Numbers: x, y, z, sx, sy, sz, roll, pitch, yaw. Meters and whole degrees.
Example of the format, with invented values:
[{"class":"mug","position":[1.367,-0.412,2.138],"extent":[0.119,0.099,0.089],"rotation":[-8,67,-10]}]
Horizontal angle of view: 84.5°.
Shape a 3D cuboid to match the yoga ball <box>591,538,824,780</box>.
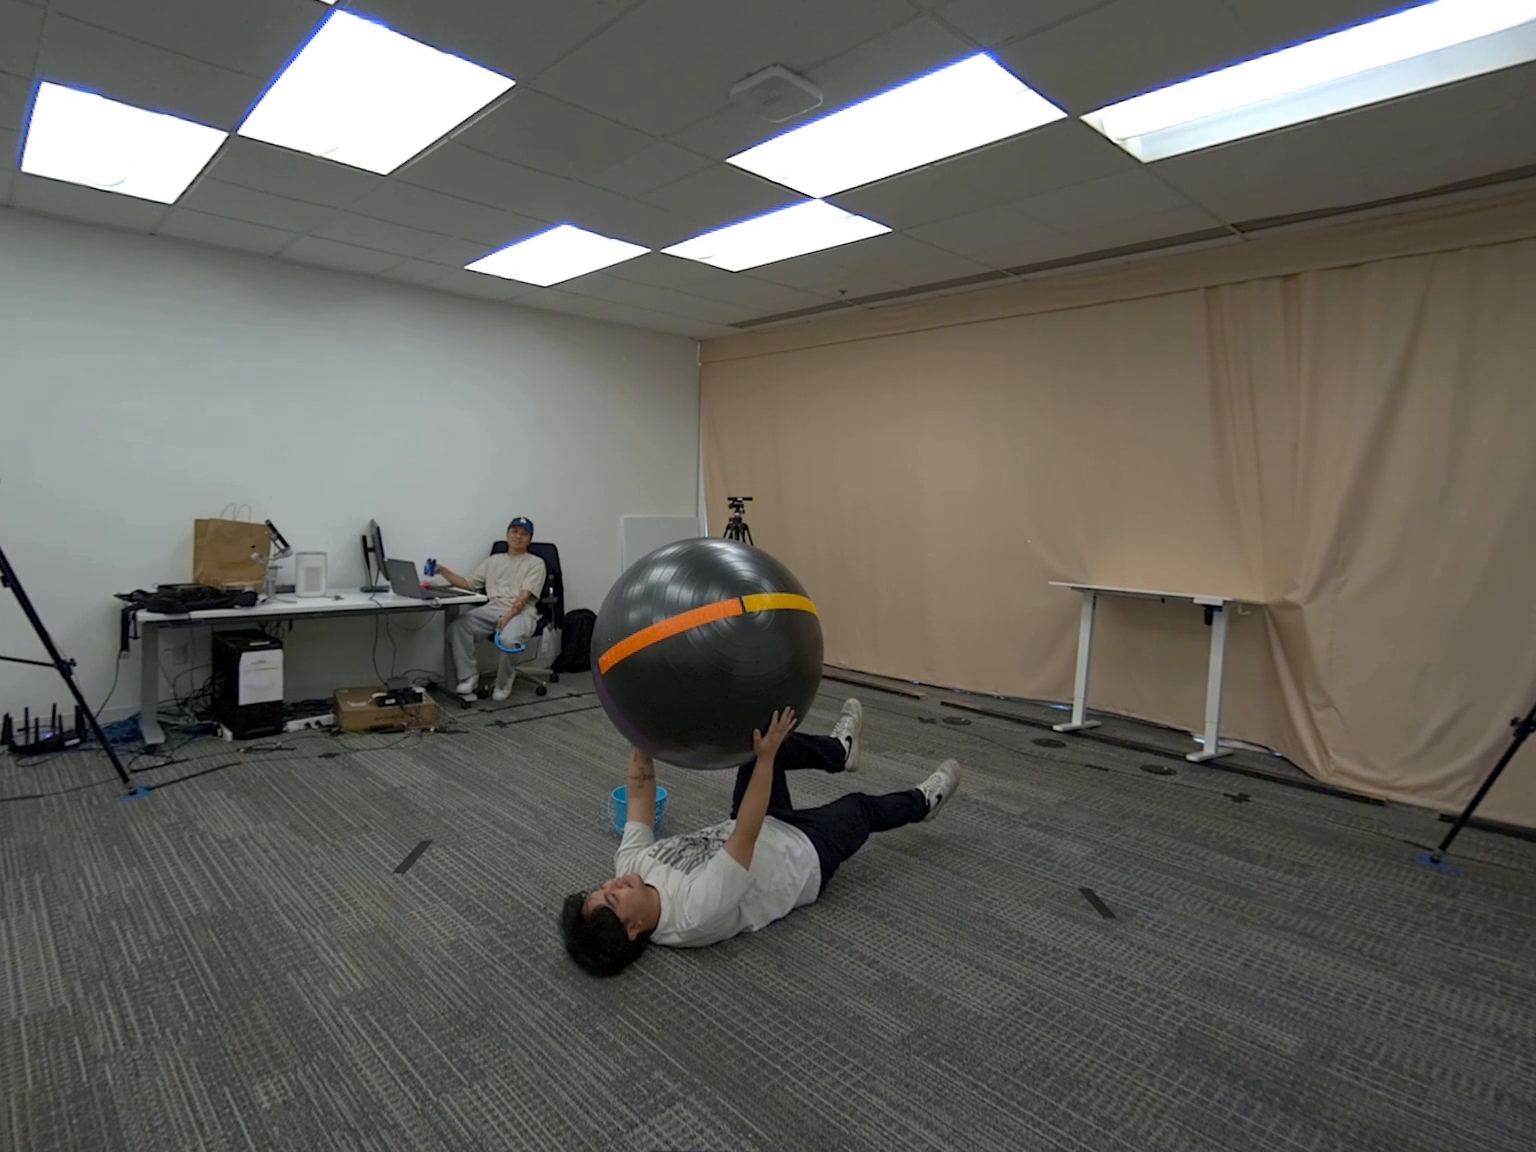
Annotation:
[{"class":"yoga ball","position":[-0.201,0.259,2.766],"extent":[0.757,0.756,0.761],"rotation":[1,4,-1]}]
